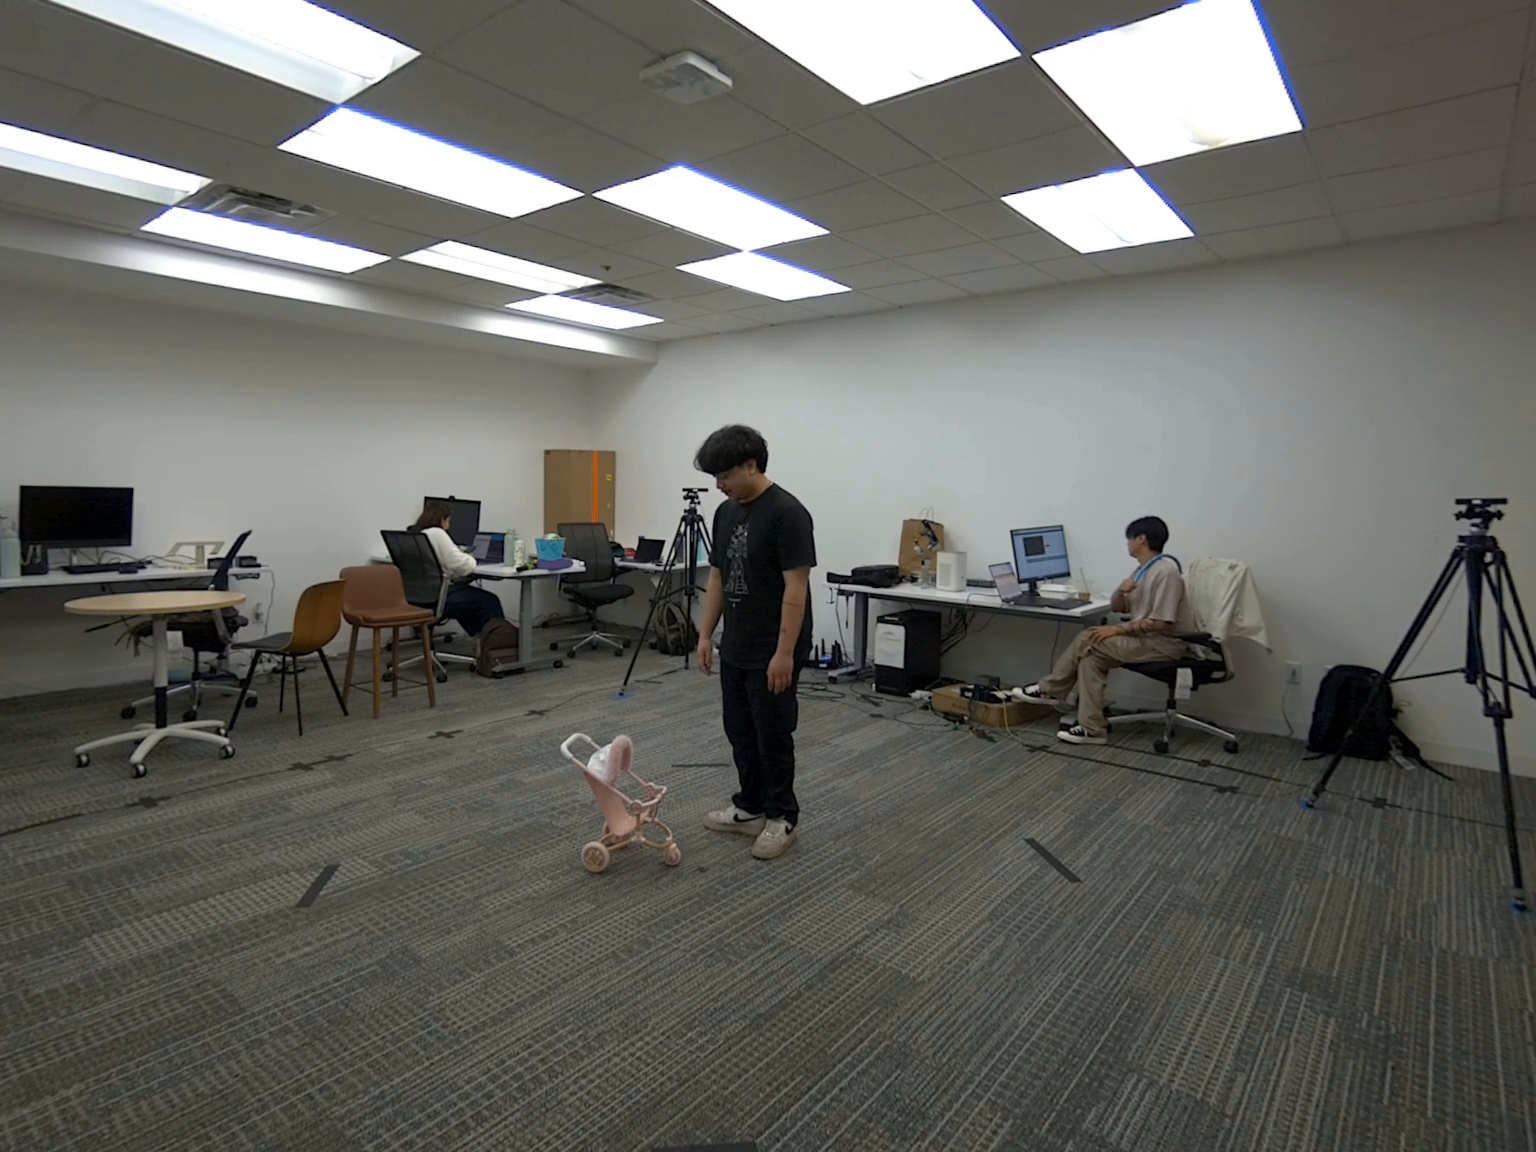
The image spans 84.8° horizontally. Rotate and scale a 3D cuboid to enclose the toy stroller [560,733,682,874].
[{"bbox_3d":[-0.548,0.834,3.163,0.345,0.535,0.278,-14,0,15],"label":"toy stroller"}]
